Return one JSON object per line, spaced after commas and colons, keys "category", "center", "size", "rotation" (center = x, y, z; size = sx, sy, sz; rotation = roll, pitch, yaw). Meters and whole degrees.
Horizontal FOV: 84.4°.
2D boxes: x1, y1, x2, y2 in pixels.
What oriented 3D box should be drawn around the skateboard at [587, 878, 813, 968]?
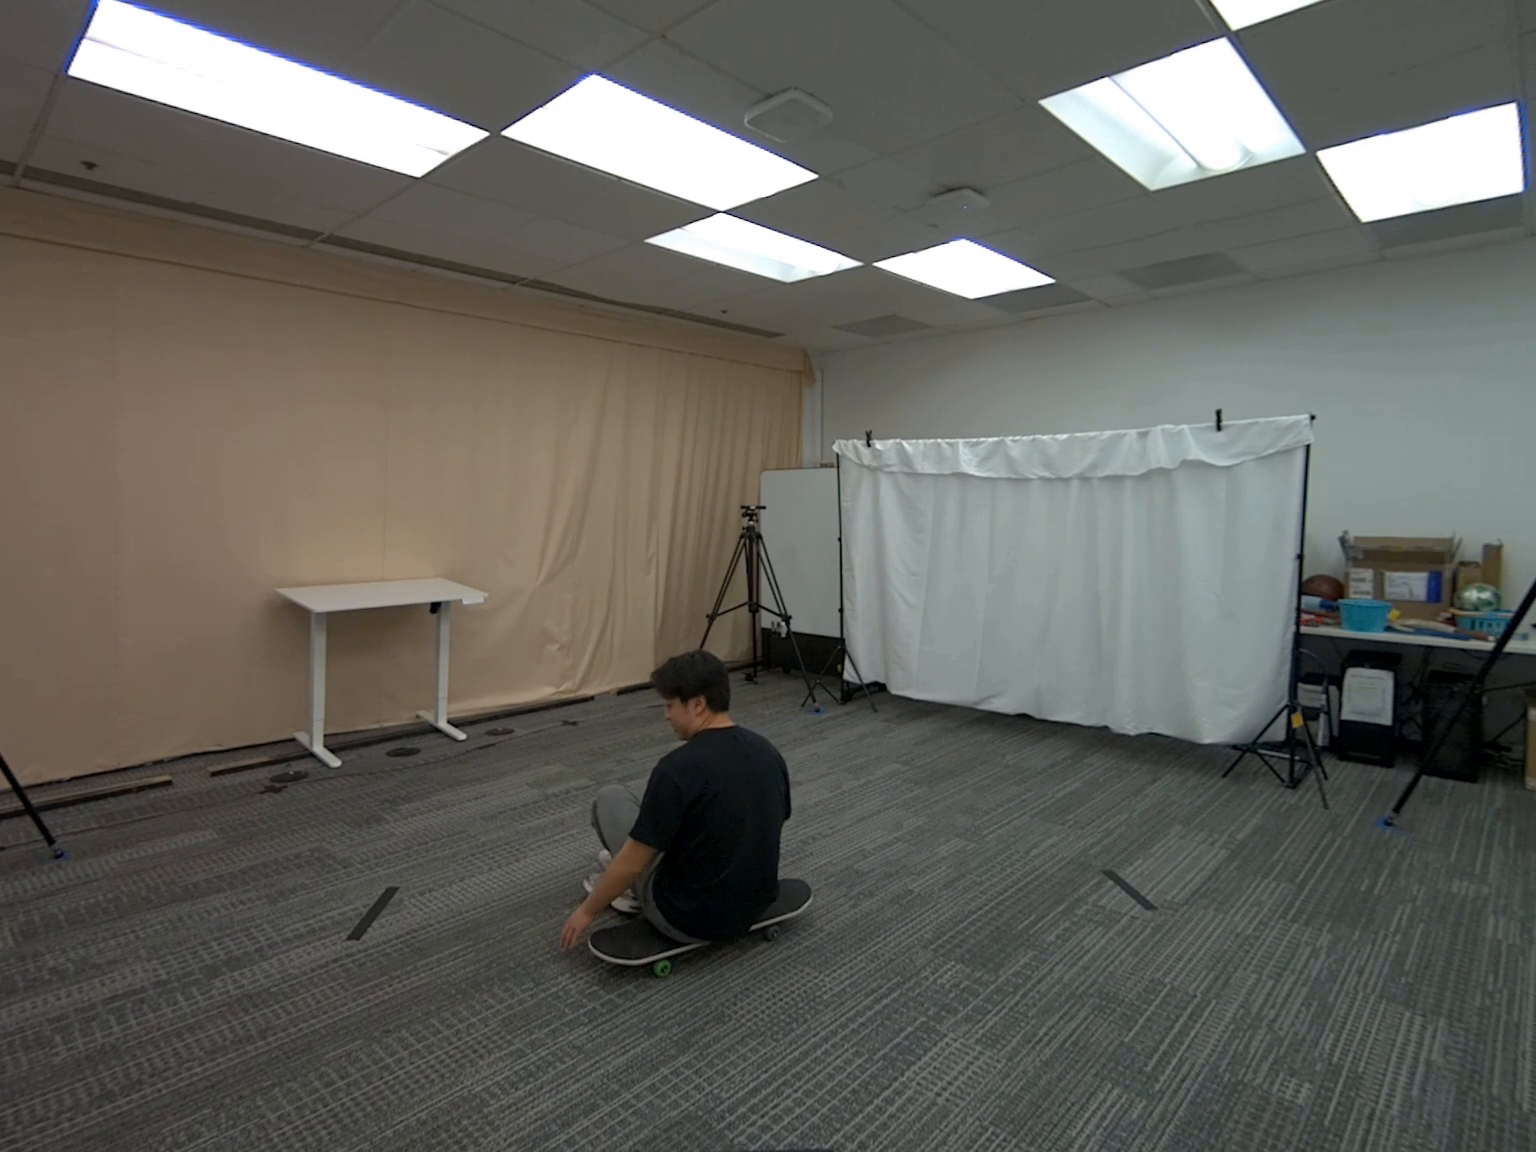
{"category": "skateboard", "center": [-0.194, 1.117, 2.656], "size": [0.764, 0.110, 0.200], "rotation": [-4, 12, -32]}
